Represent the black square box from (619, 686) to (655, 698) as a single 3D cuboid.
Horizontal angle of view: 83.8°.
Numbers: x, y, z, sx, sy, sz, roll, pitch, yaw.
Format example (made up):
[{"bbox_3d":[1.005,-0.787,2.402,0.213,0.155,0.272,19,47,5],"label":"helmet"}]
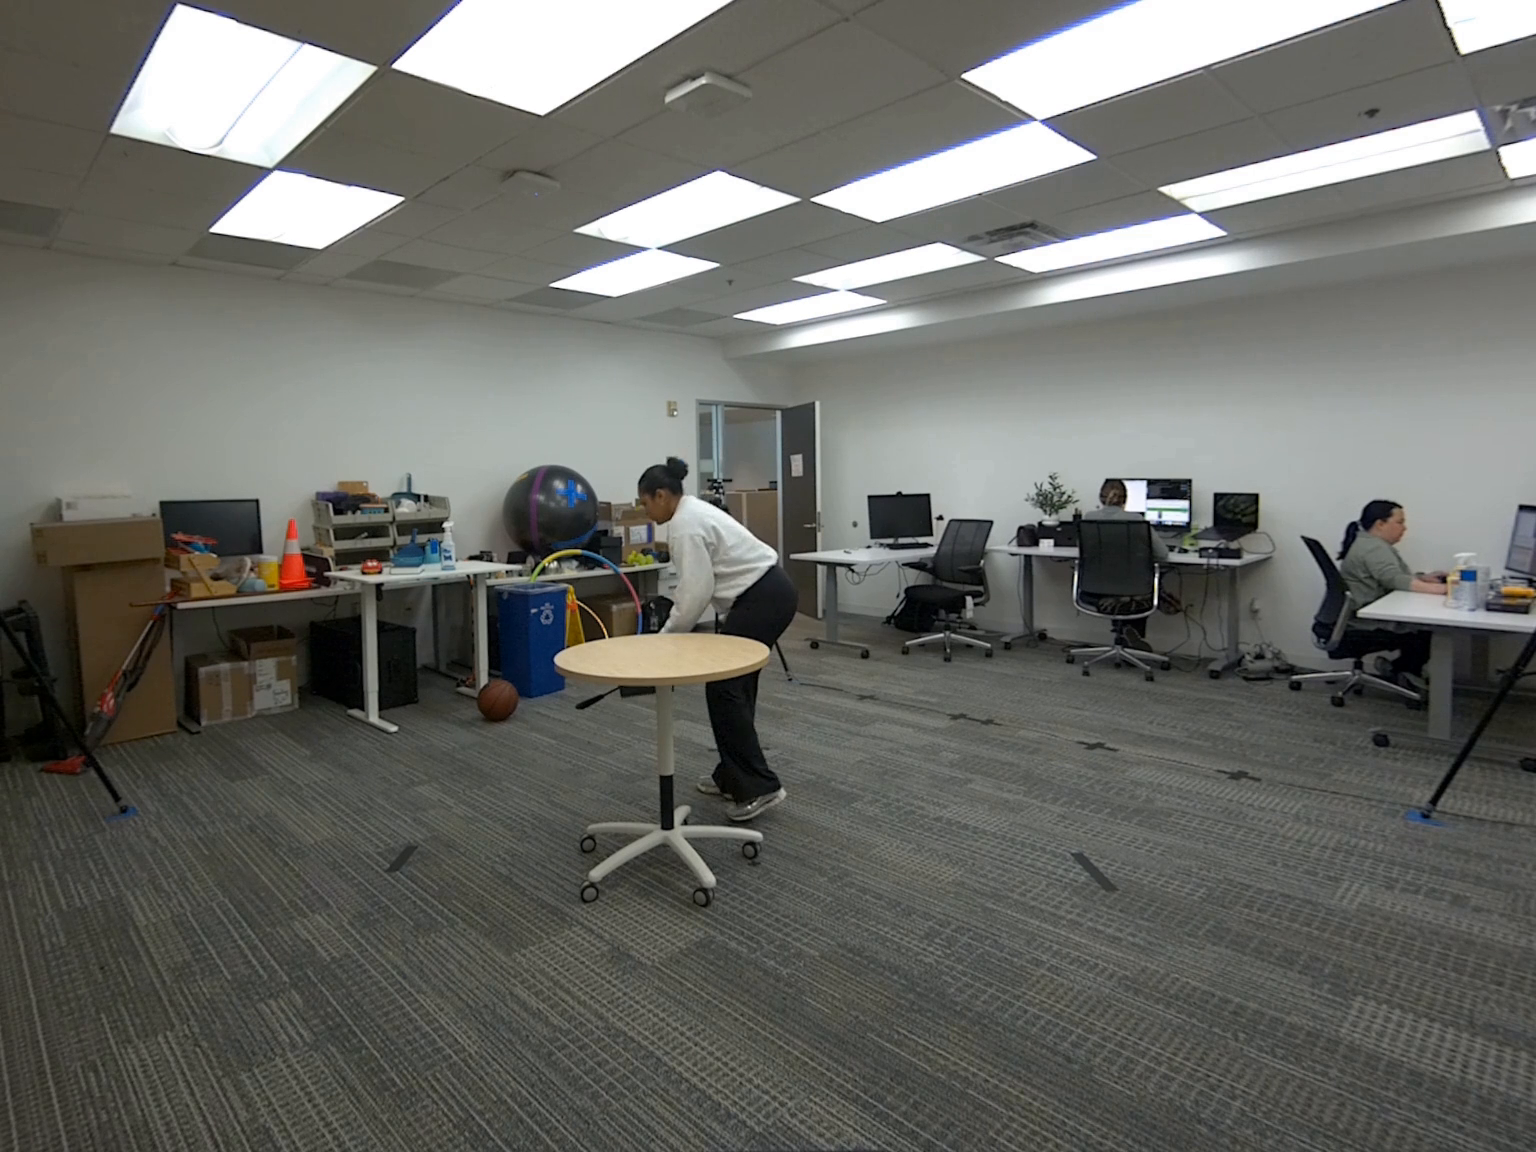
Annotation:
[{"bbox_3d":[-0.520,0.412,3.758,0.228,0.154,0.219,-8,9,0],"label":"black square box"}]
